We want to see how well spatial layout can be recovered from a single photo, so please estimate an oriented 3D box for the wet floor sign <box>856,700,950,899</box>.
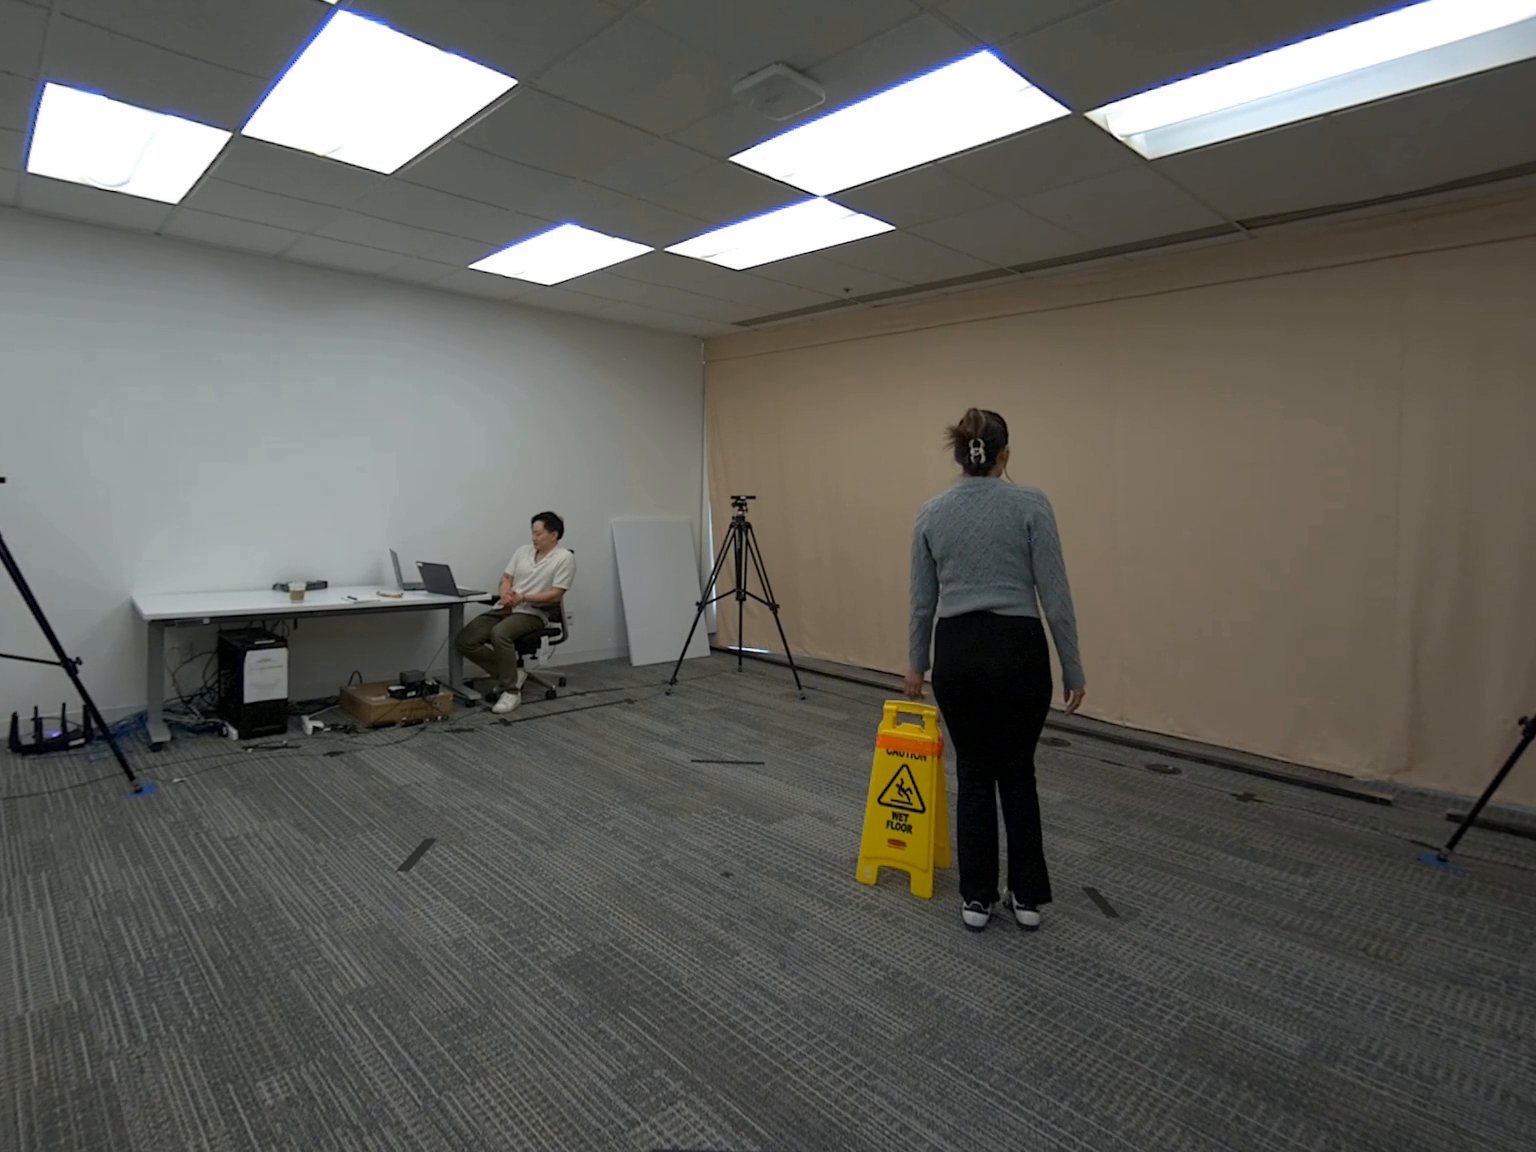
[{"bbox_3d":[0.513,0.792,3.129,0.288,0.644,0.284,5,4,25],"label":"wet floor sign"}]
